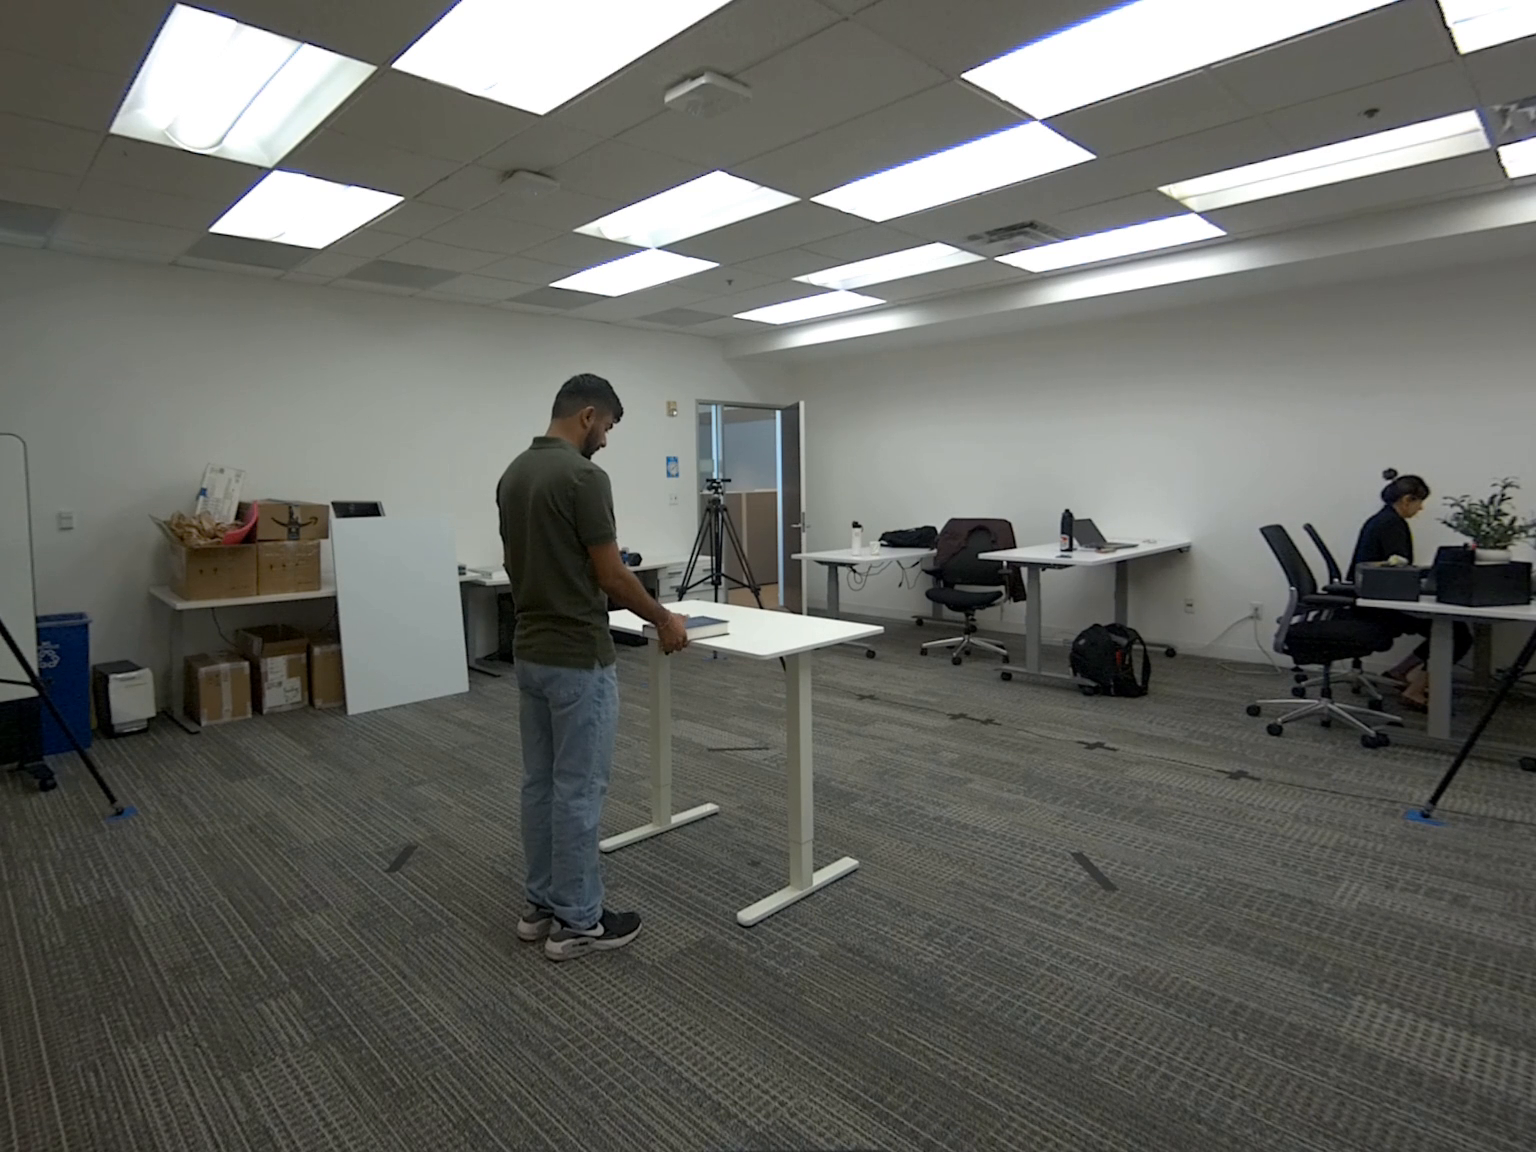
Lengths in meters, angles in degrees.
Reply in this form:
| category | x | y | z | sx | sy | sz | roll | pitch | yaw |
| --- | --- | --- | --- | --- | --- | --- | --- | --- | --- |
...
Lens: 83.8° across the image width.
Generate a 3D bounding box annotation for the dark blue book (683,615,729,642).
| category | x | y | z | sx | sy | sz | roll | pitch | yaw |
| --- | --- | --- | --- | --- | --- | --- | --- | --- | --- |
| dark blue book | -0.270 | 0.178 | 2.836 | 0.239 | 0.045 | 0.168 | -6 | 9 | -36 |
